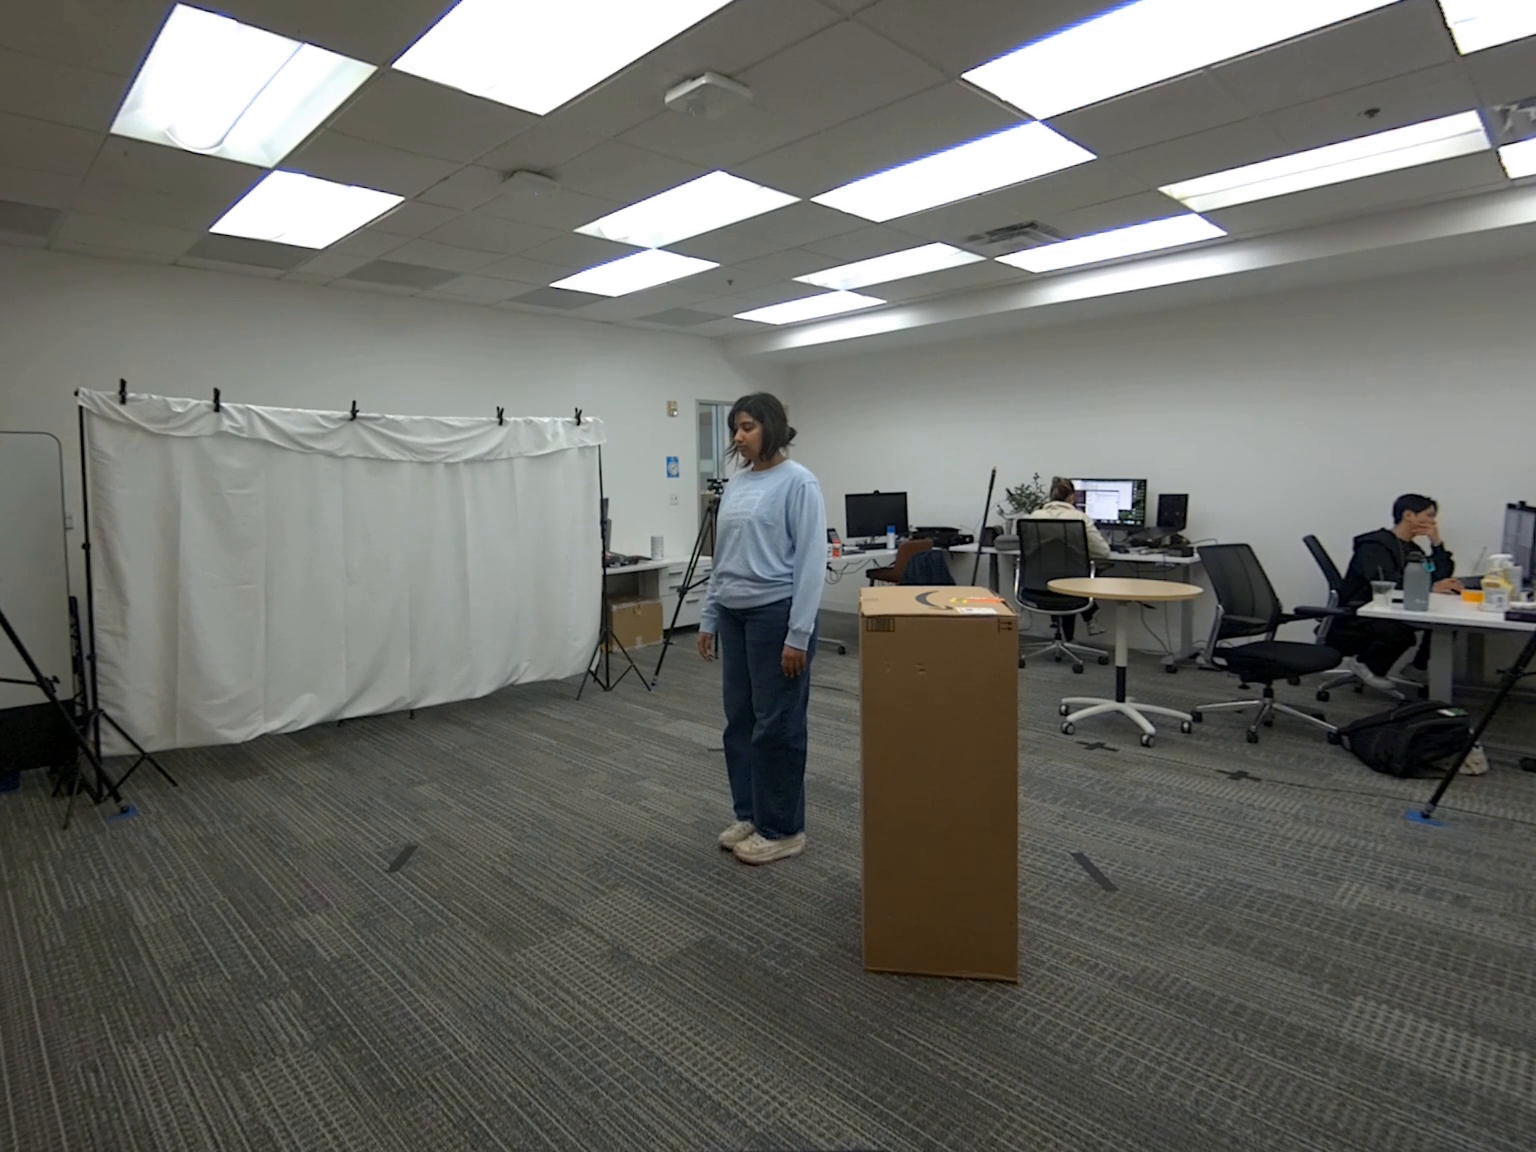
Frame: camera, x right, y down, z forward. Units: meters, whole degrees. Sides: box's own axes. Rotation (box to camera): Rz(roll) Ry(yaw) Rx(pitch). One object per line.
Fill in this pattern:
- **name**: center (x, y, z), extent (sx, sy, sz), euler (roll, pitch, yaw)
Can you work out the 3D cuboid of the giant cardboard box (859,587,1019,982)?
- **giant cardboard box**: center (0.513, 0.582, 2.626), extent (0.430, 1.022, 0.575), euler (-1, 4, 7)
